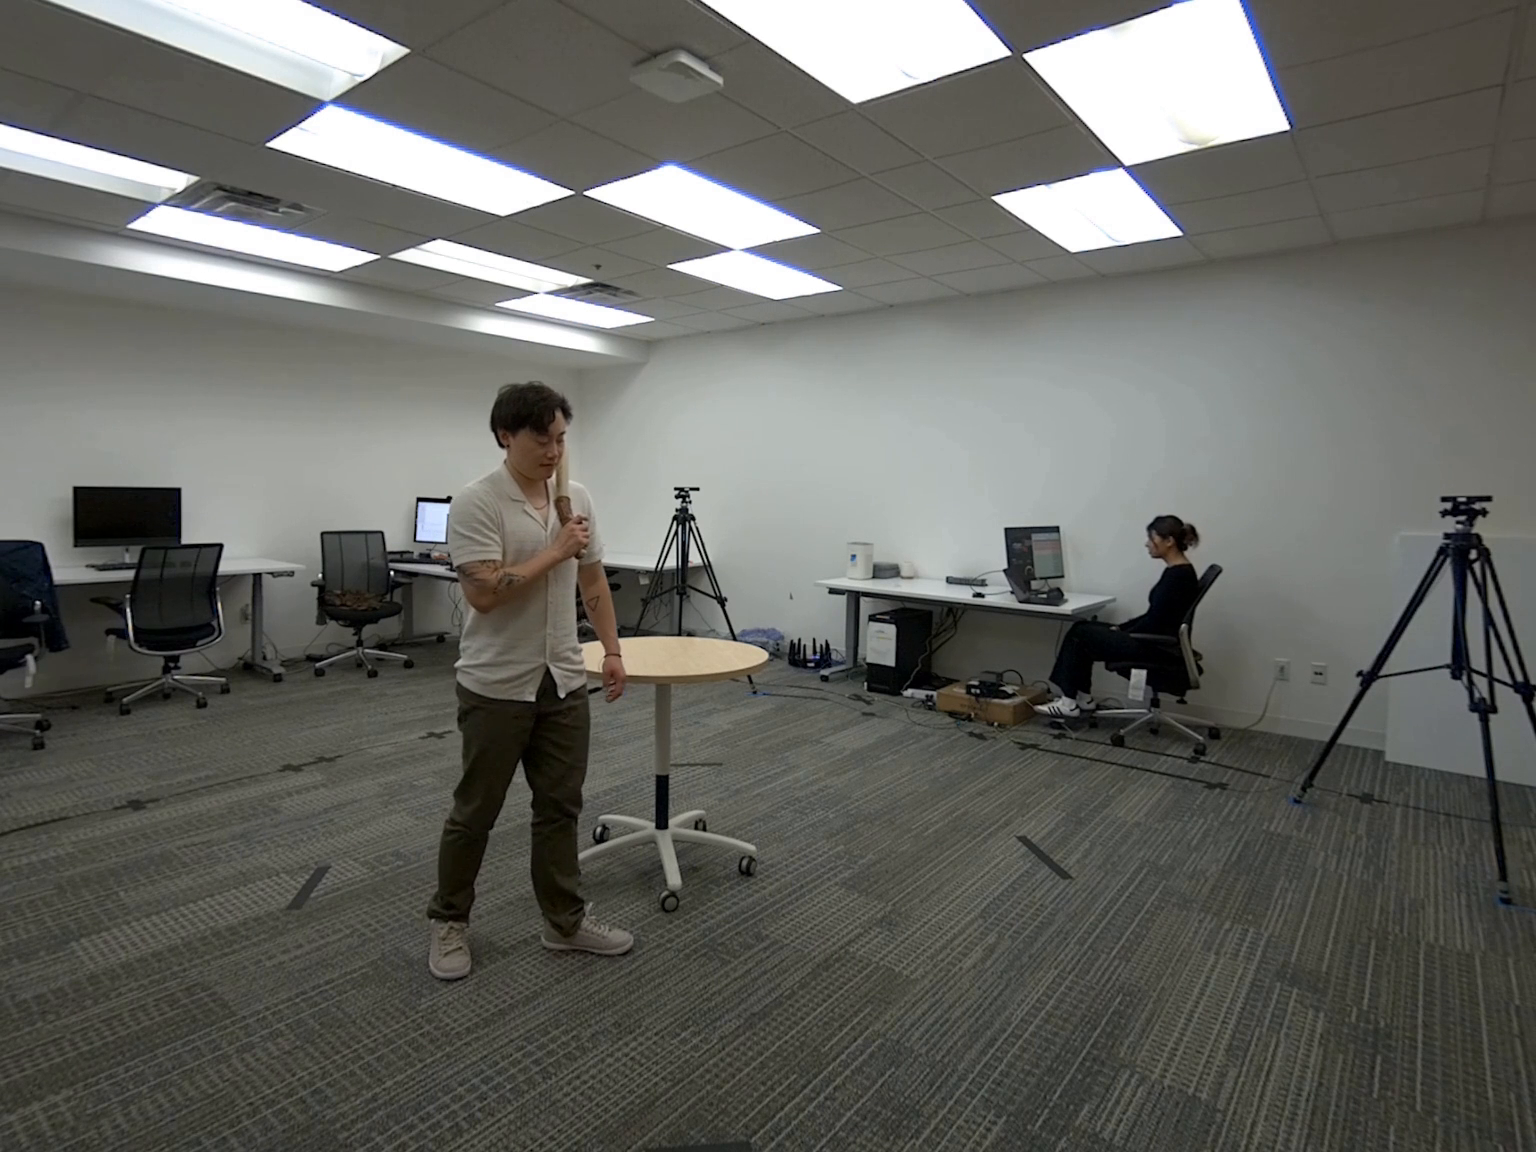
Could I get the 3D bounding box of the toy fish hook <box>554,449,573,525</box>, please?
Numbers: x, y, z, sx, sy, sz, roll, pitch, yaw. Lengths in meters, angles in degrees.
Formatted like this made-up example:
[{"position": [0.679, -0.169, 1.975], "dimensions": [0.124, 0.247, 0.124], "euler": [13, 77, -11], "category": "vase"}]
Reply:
[{"position": [-0.668, -0.247, 2.509], "dimensions": [0.227, 0.521, 0.046], "euler": [-32, -28, 26], "category": "toy fish hook"}]
